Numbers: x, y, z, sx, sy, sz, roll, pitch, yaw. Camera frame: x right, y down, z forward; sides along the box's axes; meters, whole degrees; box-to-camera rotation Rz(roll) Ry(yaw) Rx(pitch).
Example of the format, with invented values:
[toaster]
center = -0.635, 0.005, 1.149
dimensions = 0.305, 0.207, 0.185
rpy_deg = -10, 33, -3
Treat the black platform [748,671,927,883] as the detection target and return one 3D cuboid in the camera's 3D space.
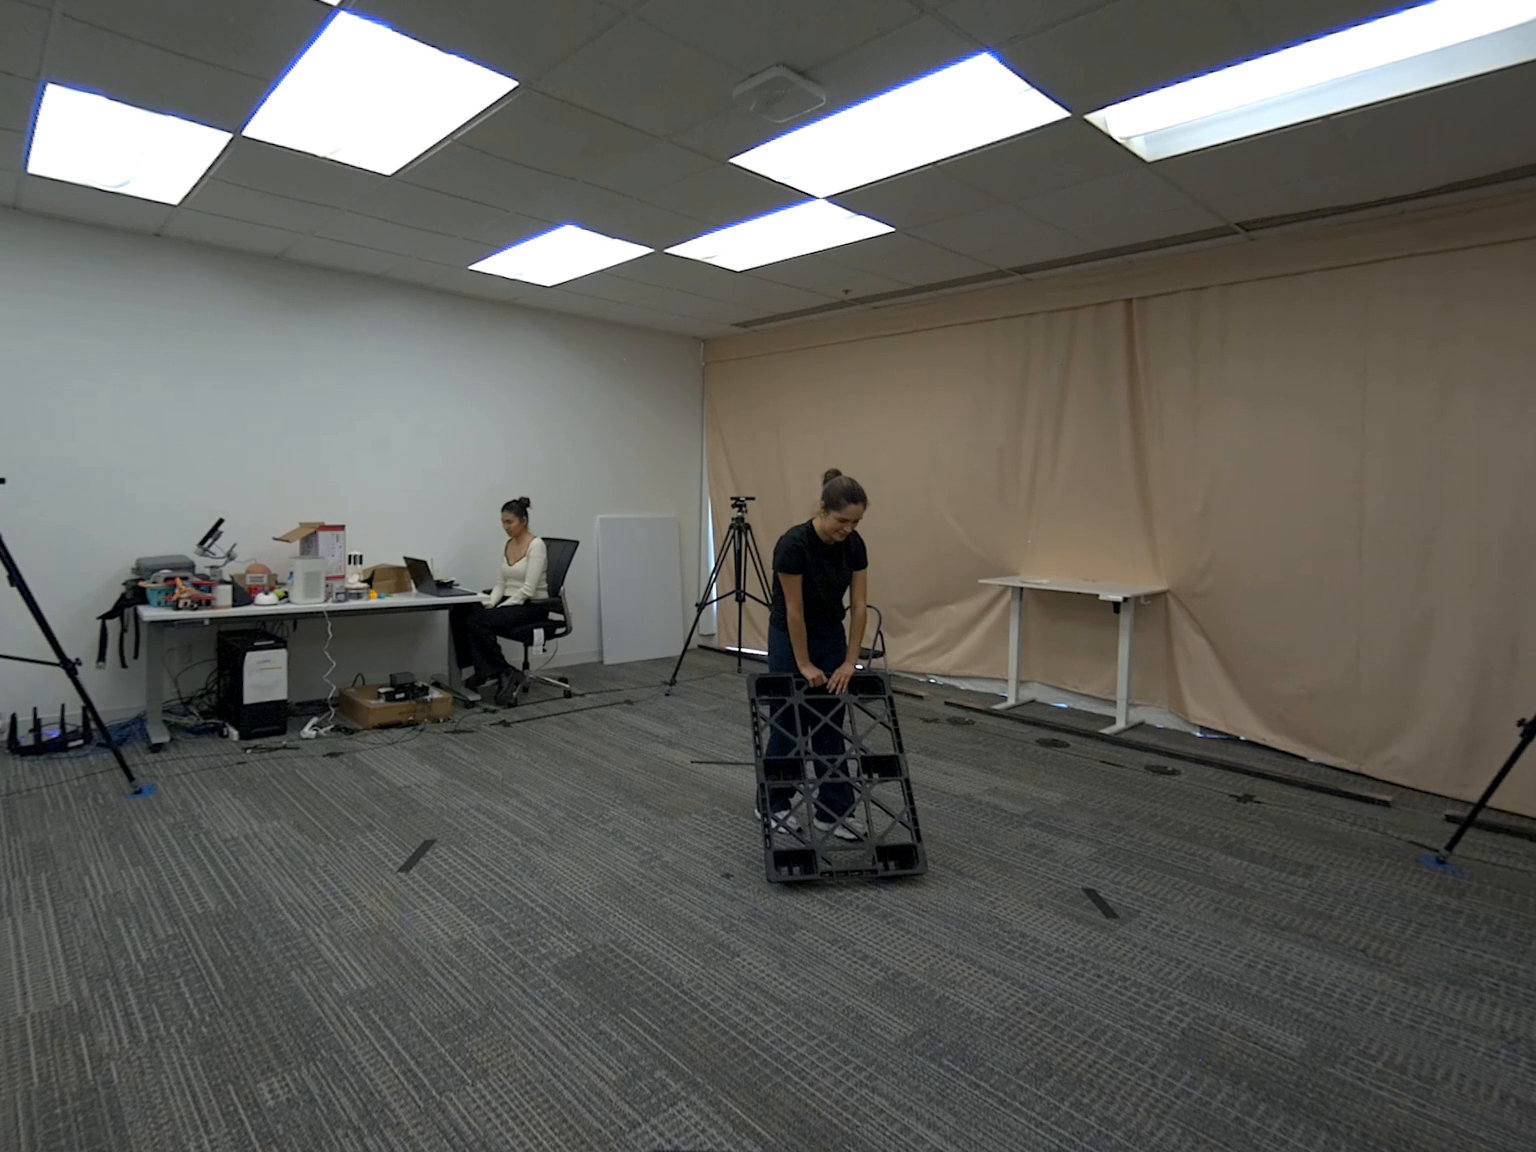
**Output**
[black platform]
center = 0.233, 0.774, 3.263
dimensions = 0.600, 0.823, 0.141
rpy_deg = 0, -33, -10
